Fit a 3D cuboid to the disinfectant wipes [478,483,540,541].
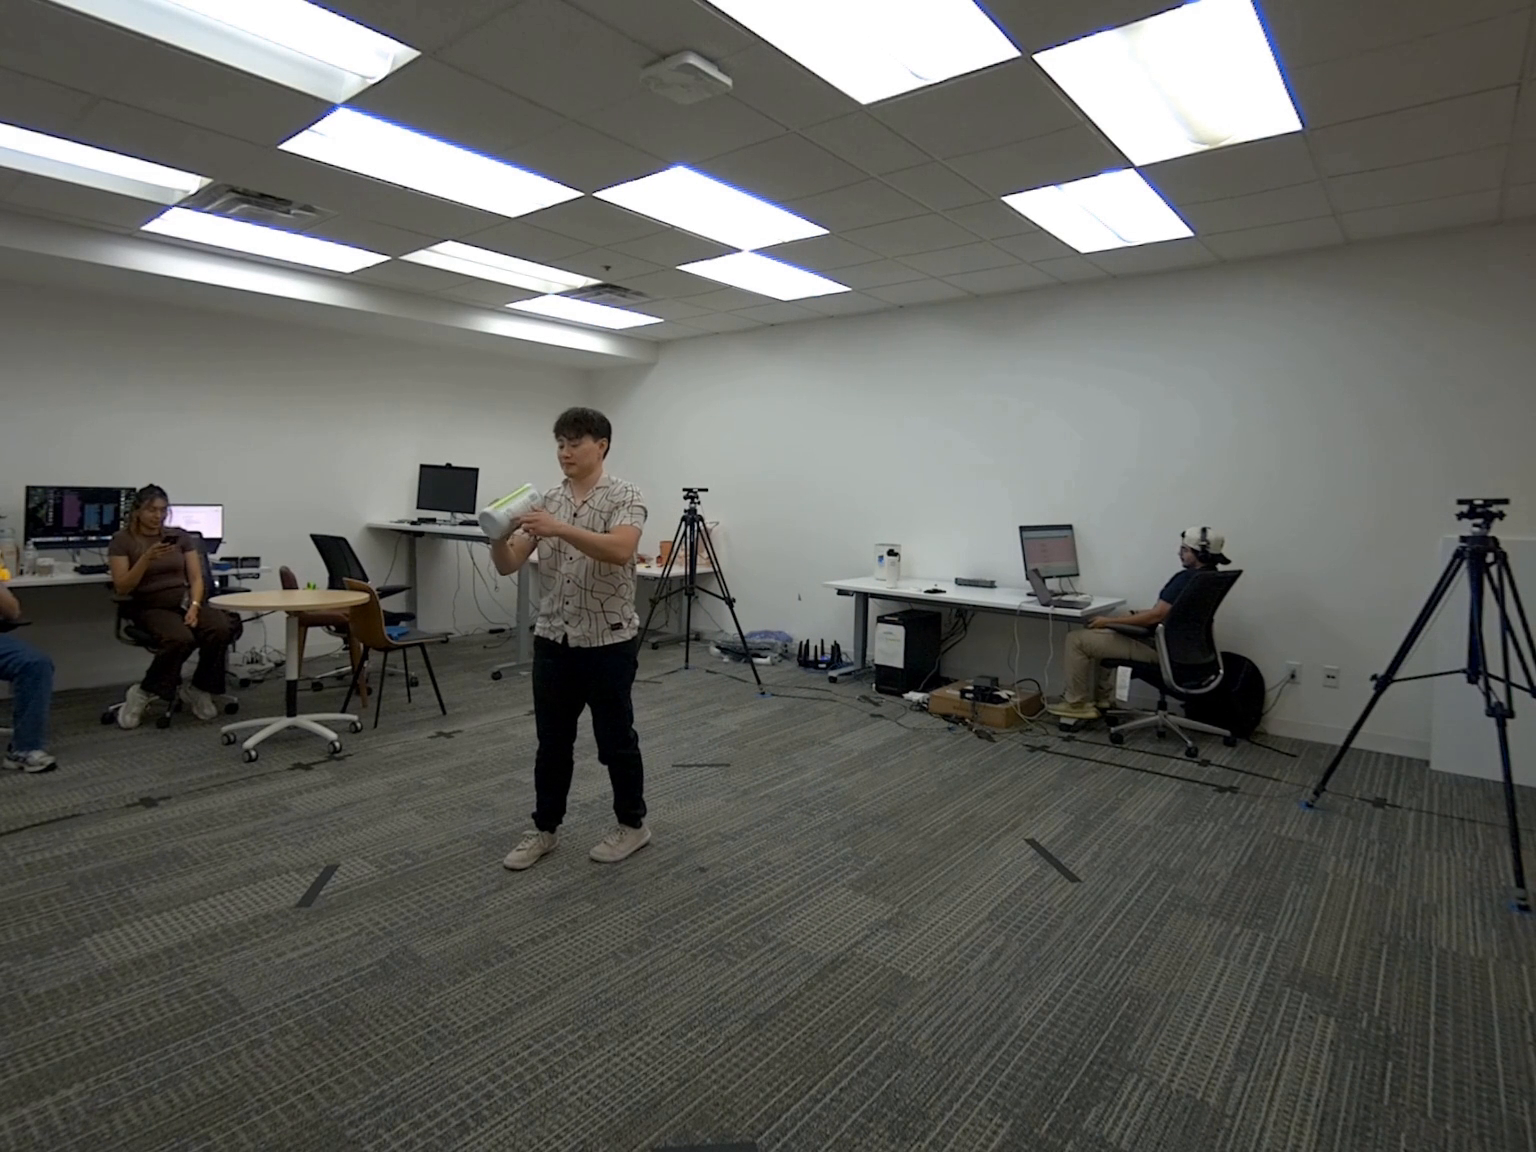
[{"bbox_3d":[-0.883,-0.223,2.876,0.121,0.114,0.216,3,31,34],"label":"disinfectant wipes"}]
